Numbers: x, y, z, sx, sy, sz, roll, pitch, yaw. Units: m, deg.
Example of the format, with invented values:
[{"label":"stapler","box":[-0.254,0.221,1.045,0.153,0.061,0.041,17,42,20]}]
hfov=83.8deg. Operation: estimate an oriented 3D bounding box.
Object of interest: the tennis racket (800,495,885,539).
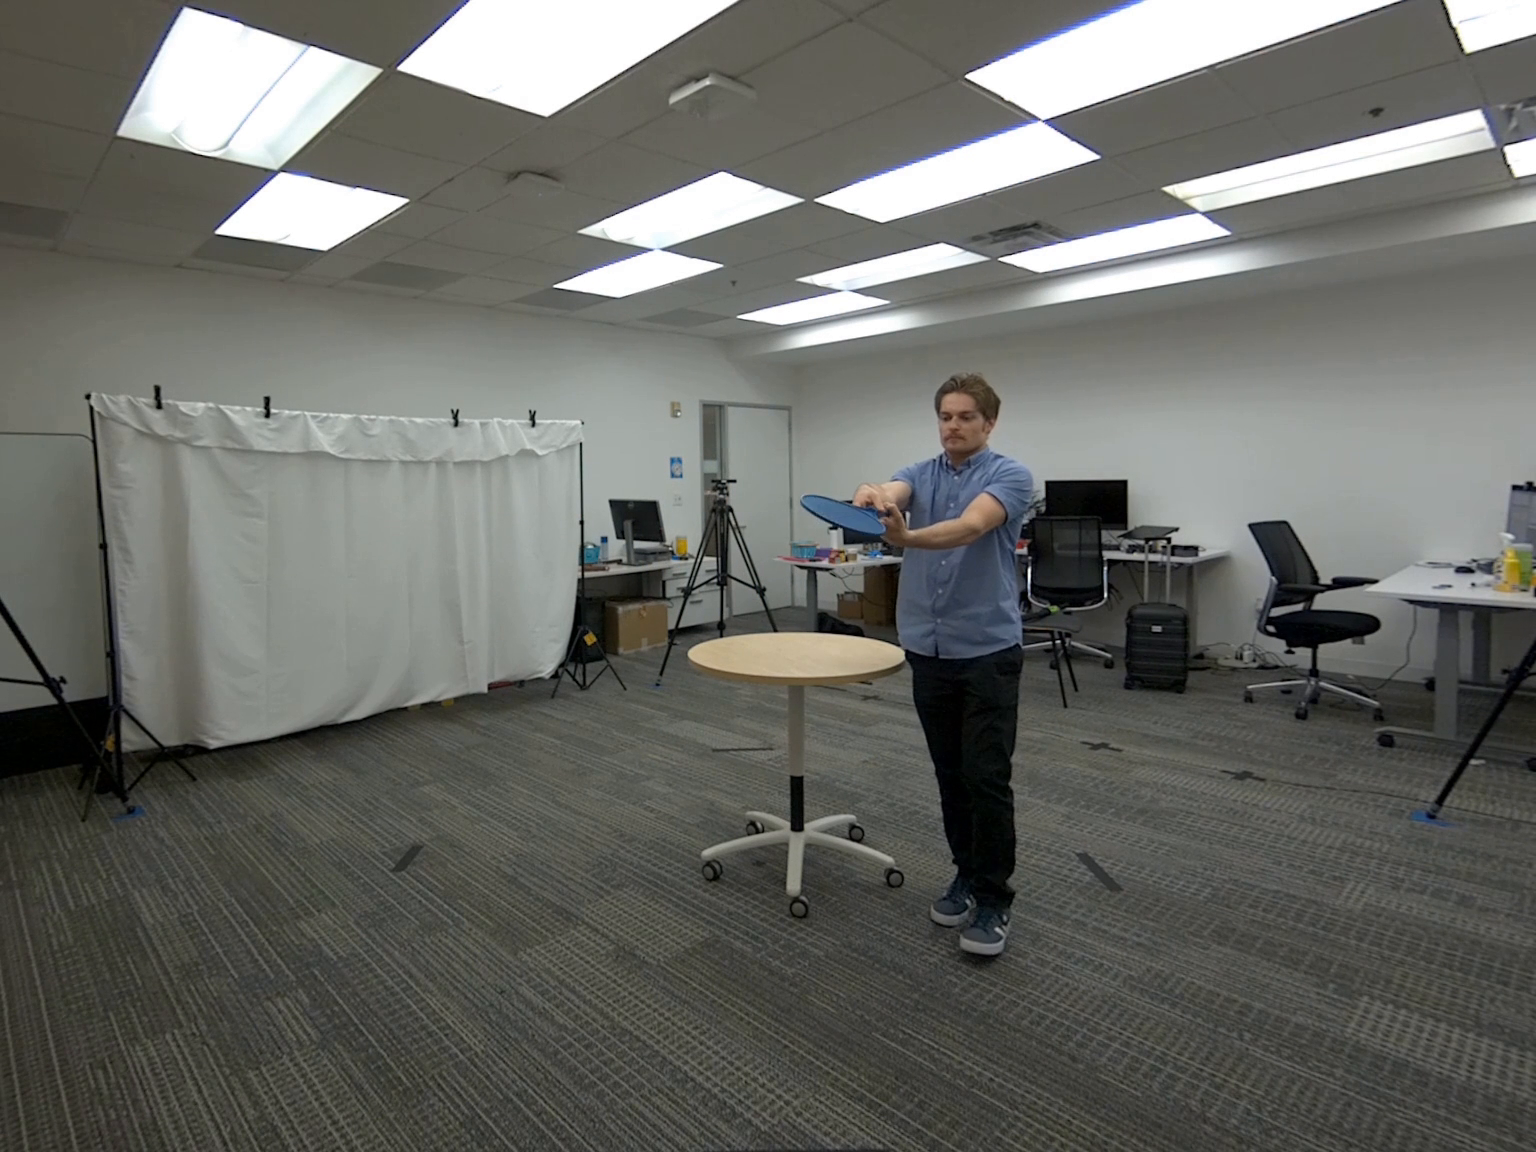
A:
[{"label":"tennis racket","box":[0.224,-0.153,2.168,0.219,0.031,0.425,31,18,19]}]
